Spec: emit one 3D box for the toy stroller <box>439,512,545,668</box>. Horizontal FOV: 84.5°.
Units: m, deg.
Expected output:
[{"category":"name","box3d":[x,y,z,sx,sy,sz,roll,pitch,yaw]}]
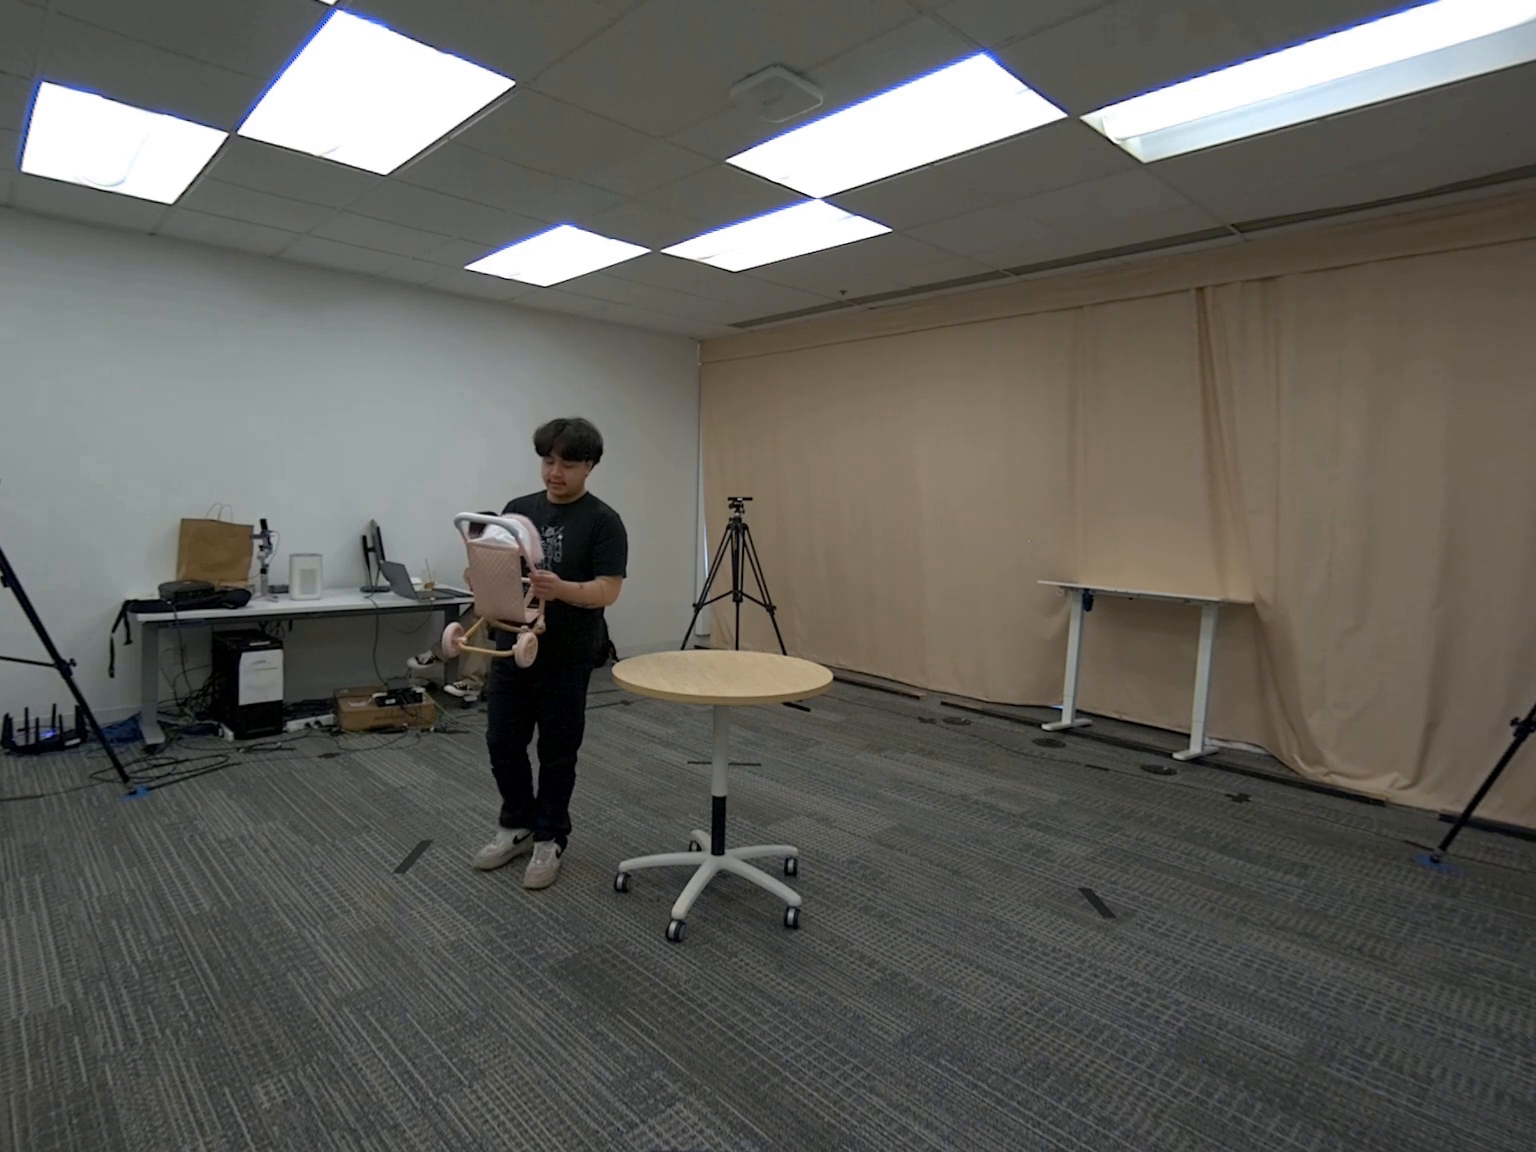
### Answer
[{"category":"toy stroller","box3d":[-0.847,0.048,2.694,0.285,0.530,0.340,7,13,13]}]
